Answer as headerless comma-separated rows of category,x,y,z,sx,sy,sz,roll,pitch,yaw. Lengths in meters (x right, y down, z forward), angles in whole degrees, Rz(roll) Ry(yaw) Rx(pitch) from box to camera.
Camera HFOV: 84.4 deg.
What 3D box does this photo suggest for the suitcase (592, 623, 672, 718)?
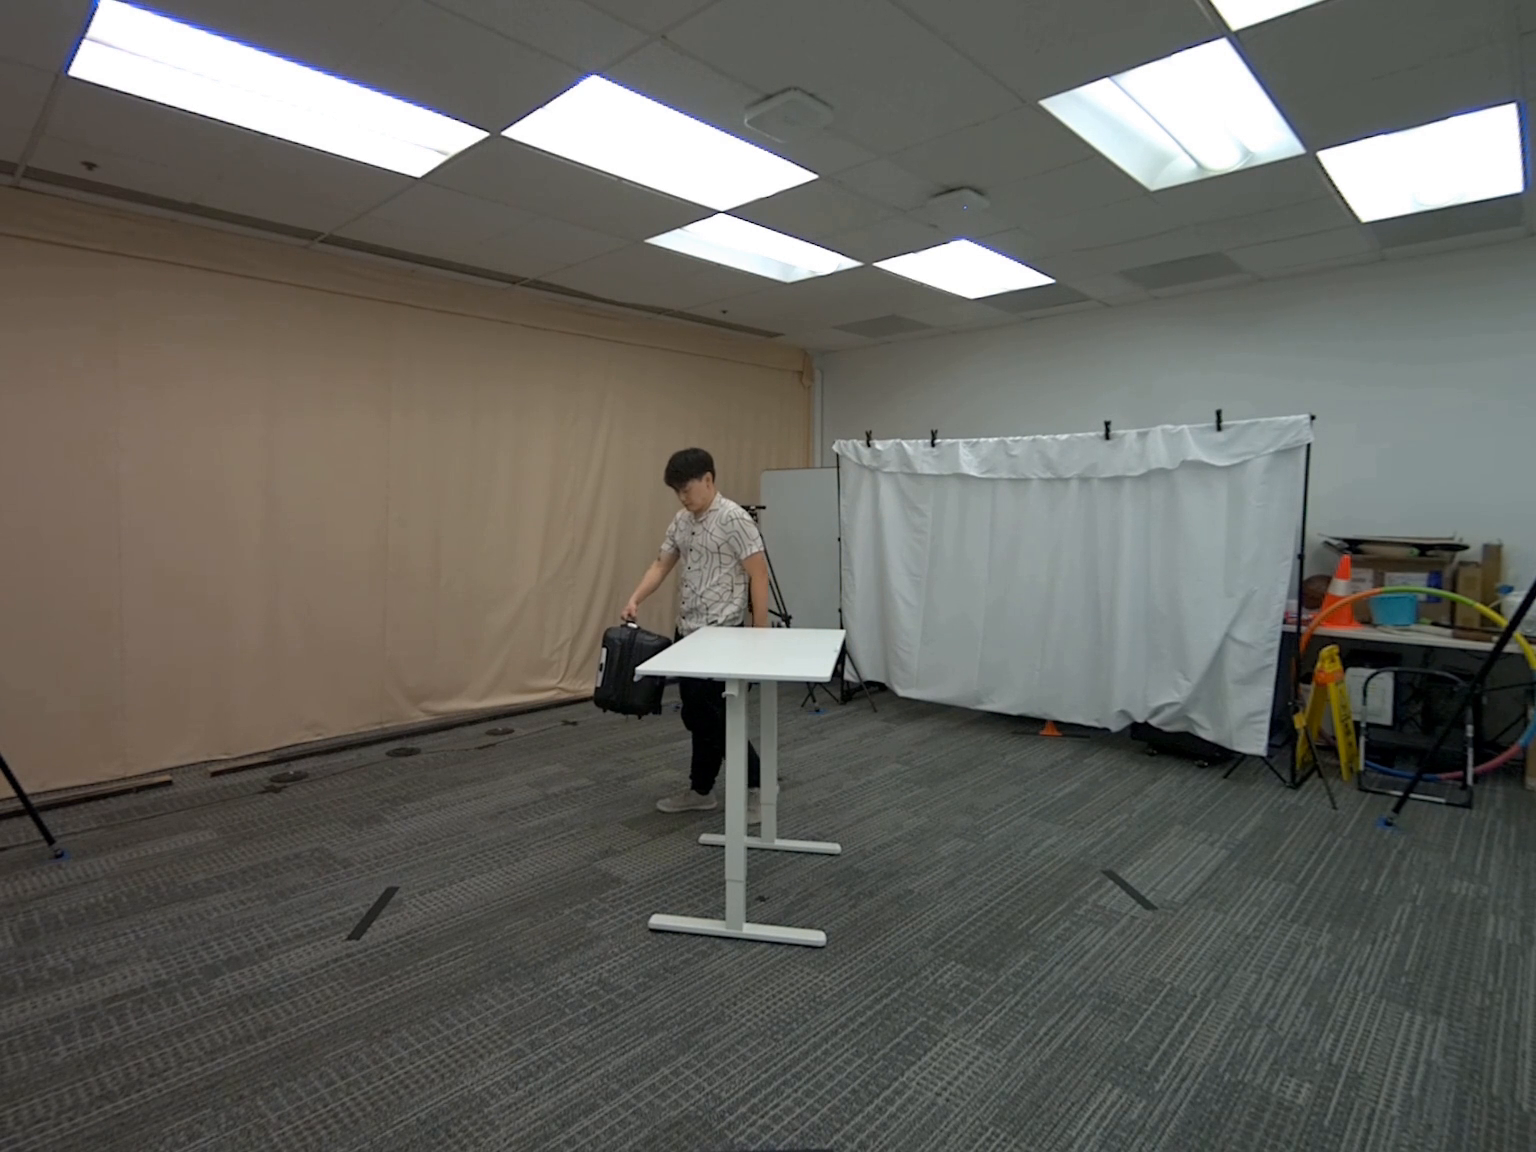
suitcase,-0.583,0.407,3.688,0.248,0.376,0.547,9,-6,-1
